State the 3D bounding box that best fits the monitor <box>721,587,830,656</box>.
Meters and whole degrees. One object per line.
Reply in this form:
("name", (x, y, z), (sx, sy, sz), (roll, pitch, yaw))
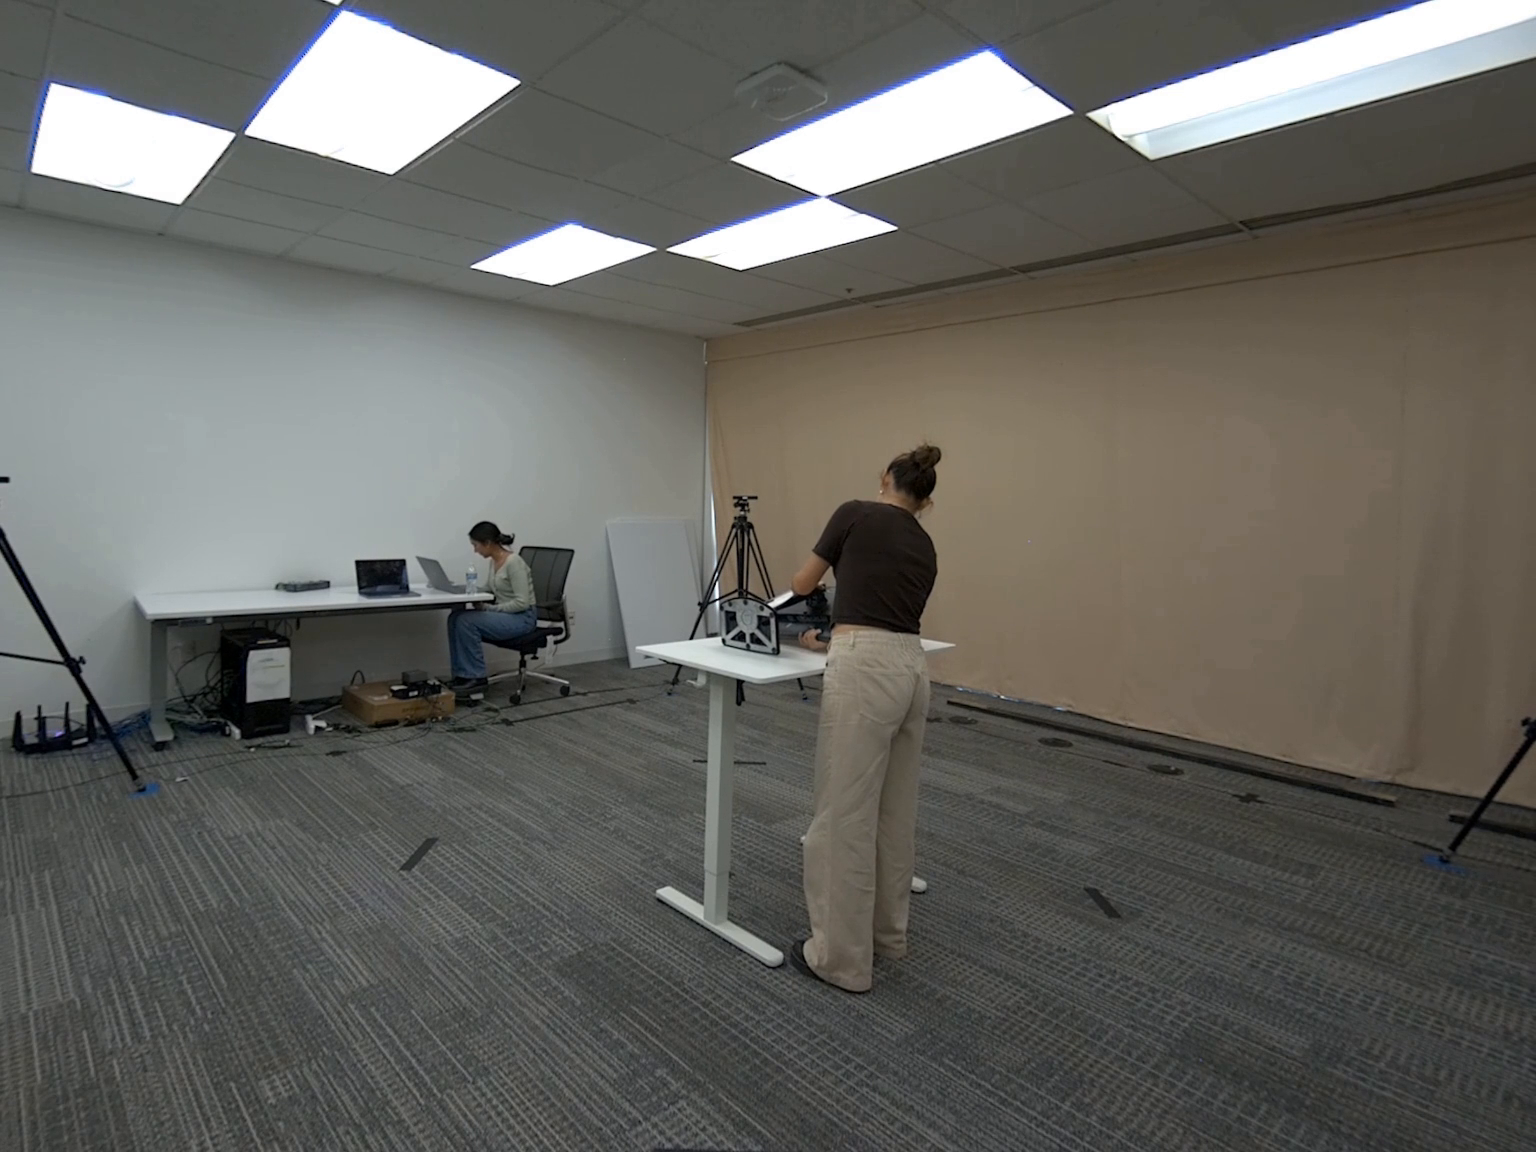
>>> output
("monitor", (0.088, 0.123, 2.943), (0.513, 0.186, 0.552), (-15, 12, -41))
